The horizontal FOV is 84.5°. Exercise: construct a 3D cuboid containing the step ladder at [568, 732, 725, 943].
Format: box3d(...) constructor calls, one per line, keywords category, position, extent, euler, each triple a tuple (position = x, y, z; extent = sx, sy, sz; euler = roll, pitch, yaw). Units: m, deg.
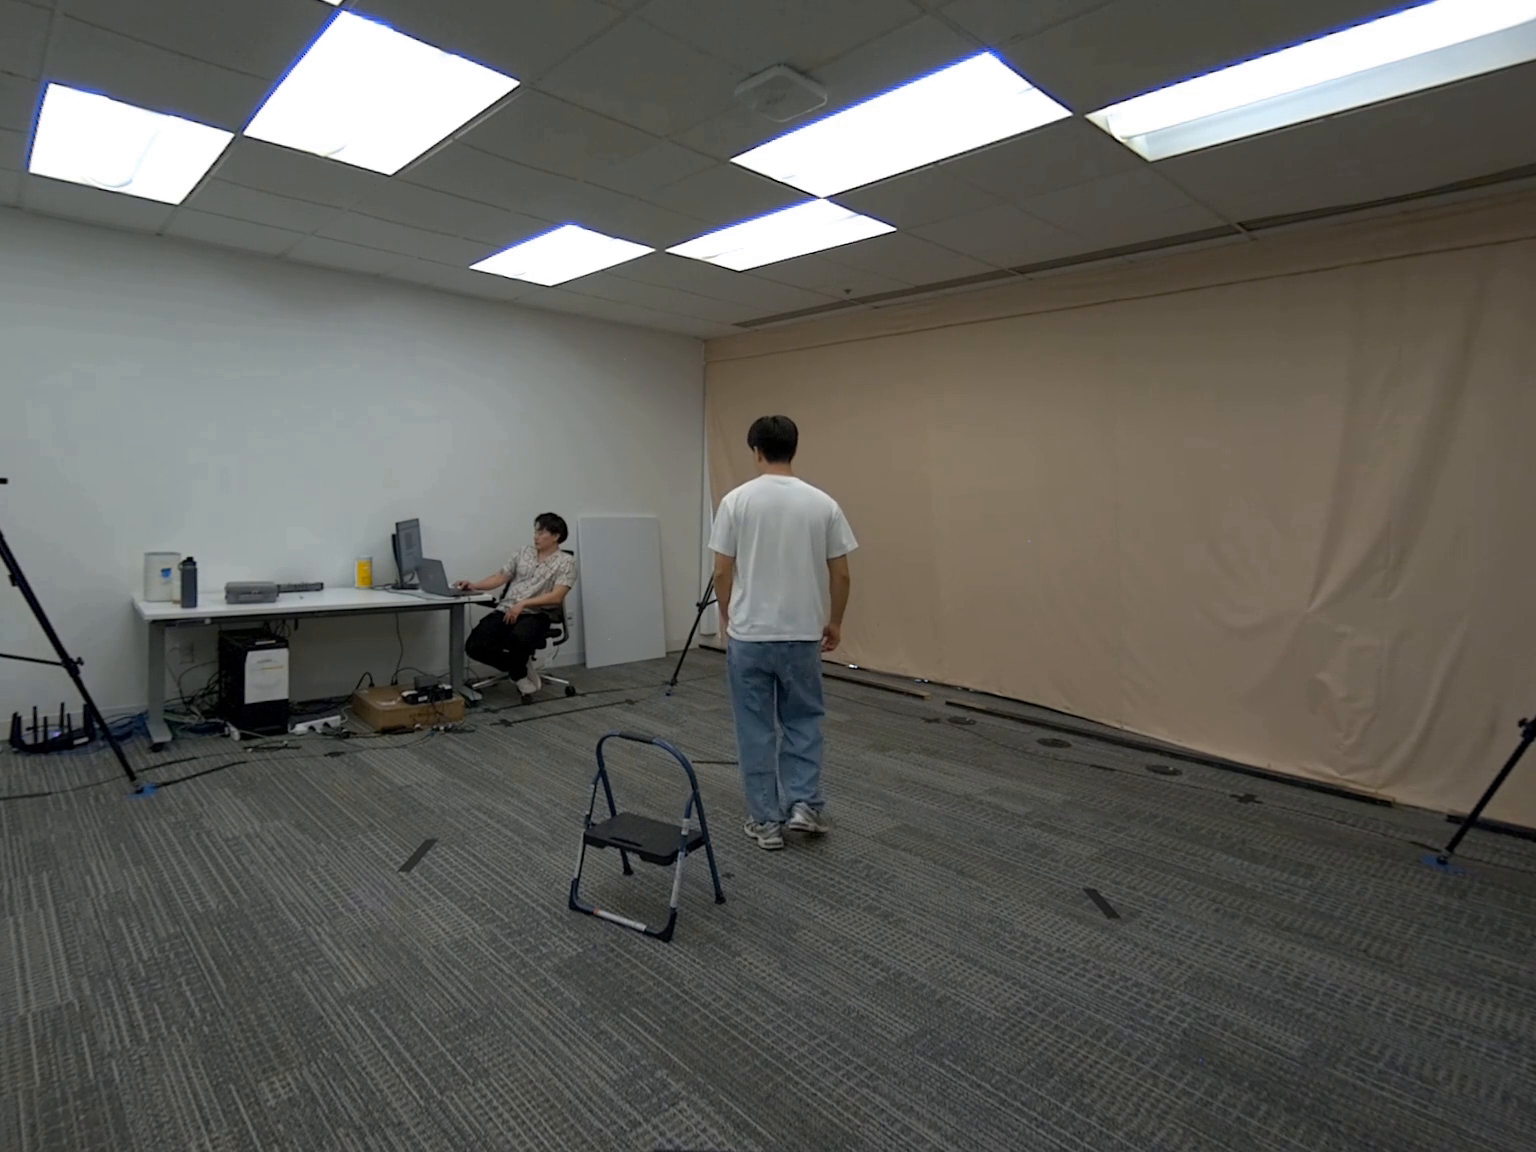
box3d(category="step ladder", position=(-0.412, 0.821, 2.855), extent=(0.440, 0.605, 0.342), euler=(3, 4, 29))
